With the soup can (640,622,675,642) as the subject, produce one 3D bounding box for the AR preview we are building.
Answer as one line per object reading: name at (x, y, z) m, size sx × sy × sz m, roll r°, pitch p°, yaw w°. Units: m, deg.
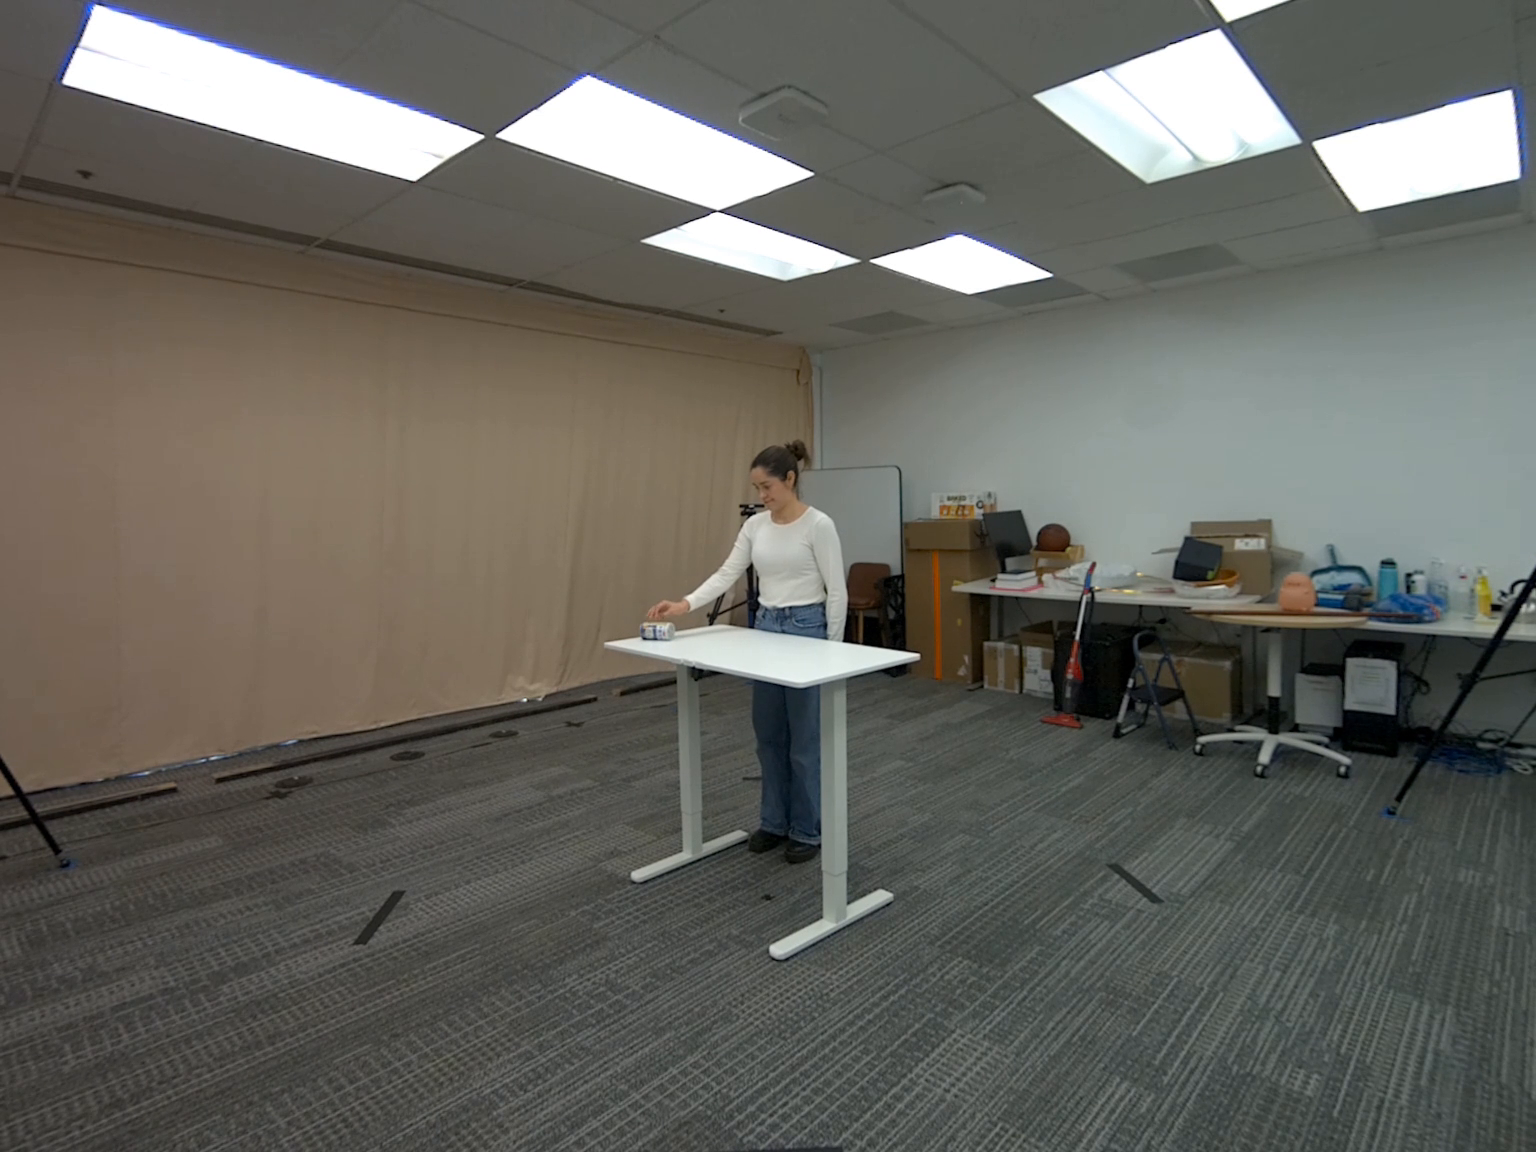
soup can at (-0.412, 0.212, 3.197) m, size 0.122 × 0.067 × 0.067 m, roll -2°, pitch 4°, yaw 7°
